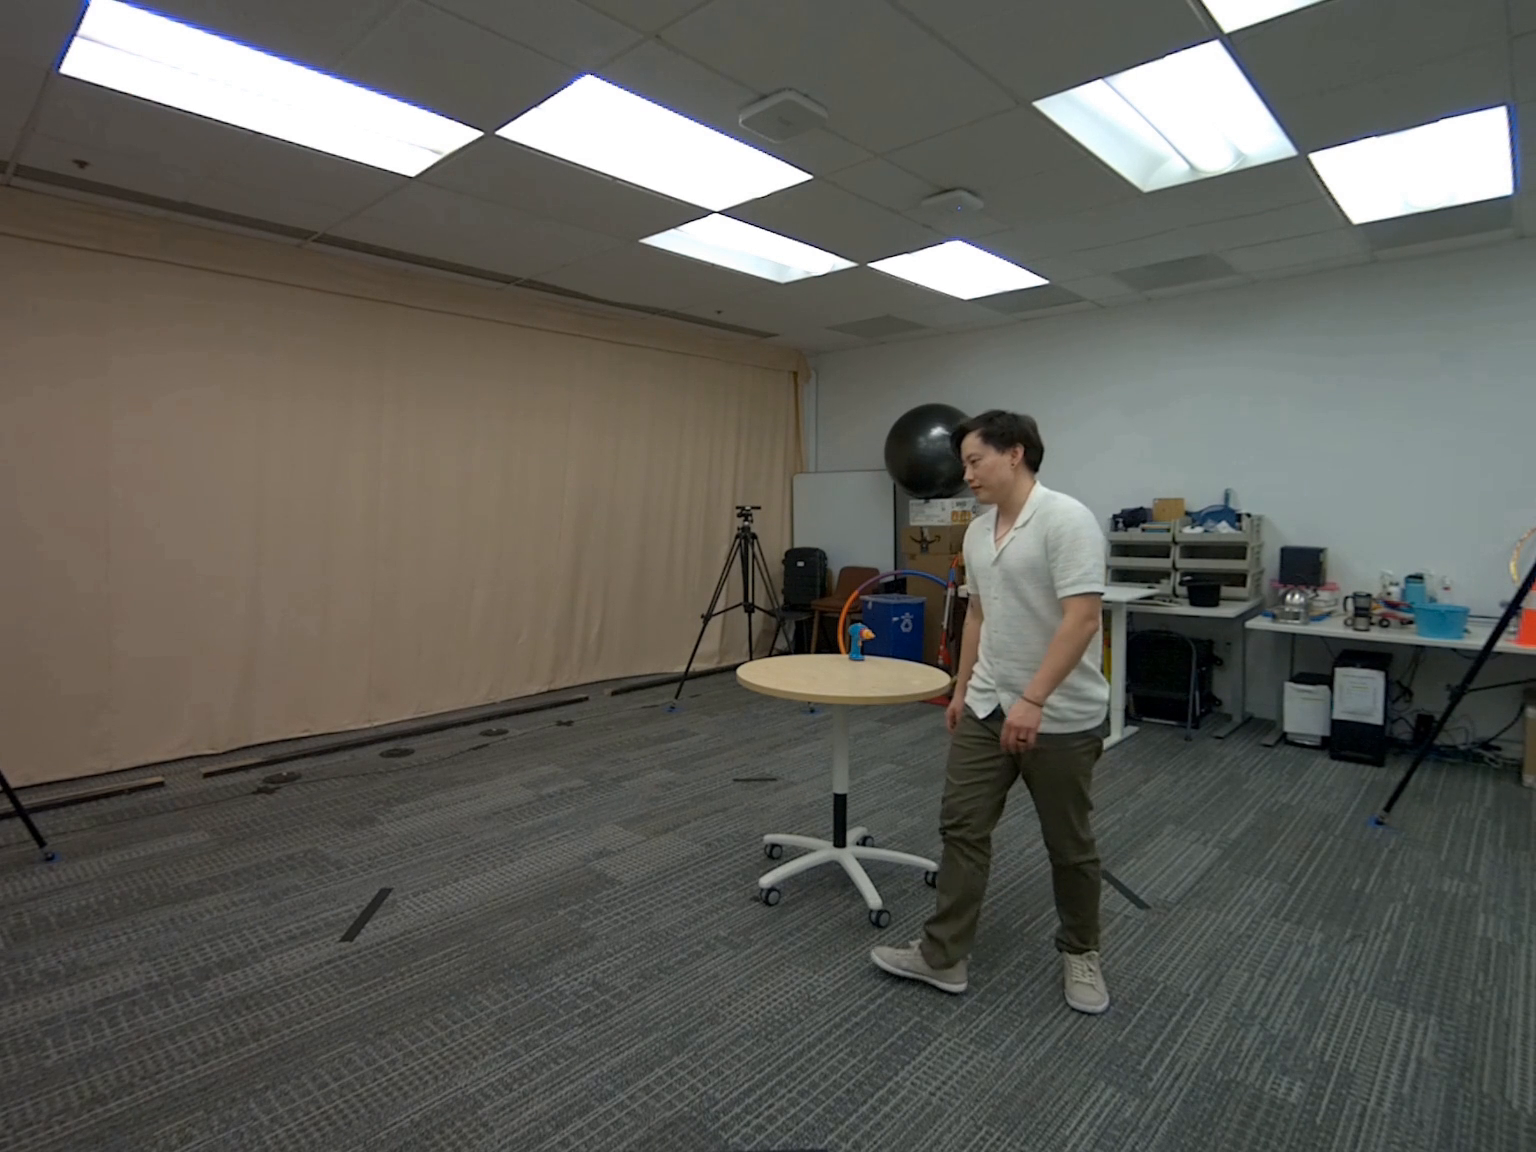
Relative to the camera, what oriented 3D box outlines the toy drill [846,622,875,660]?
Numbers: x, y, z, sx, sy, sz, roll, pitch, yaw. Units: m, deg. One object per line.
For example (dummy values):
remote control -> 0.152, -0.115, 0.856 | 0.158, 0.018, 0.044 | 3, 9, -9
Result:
toy drill -> 0.367, 0.261, 3.286 | 0.060, 0.146, 0.174 | -2, 4, -26
